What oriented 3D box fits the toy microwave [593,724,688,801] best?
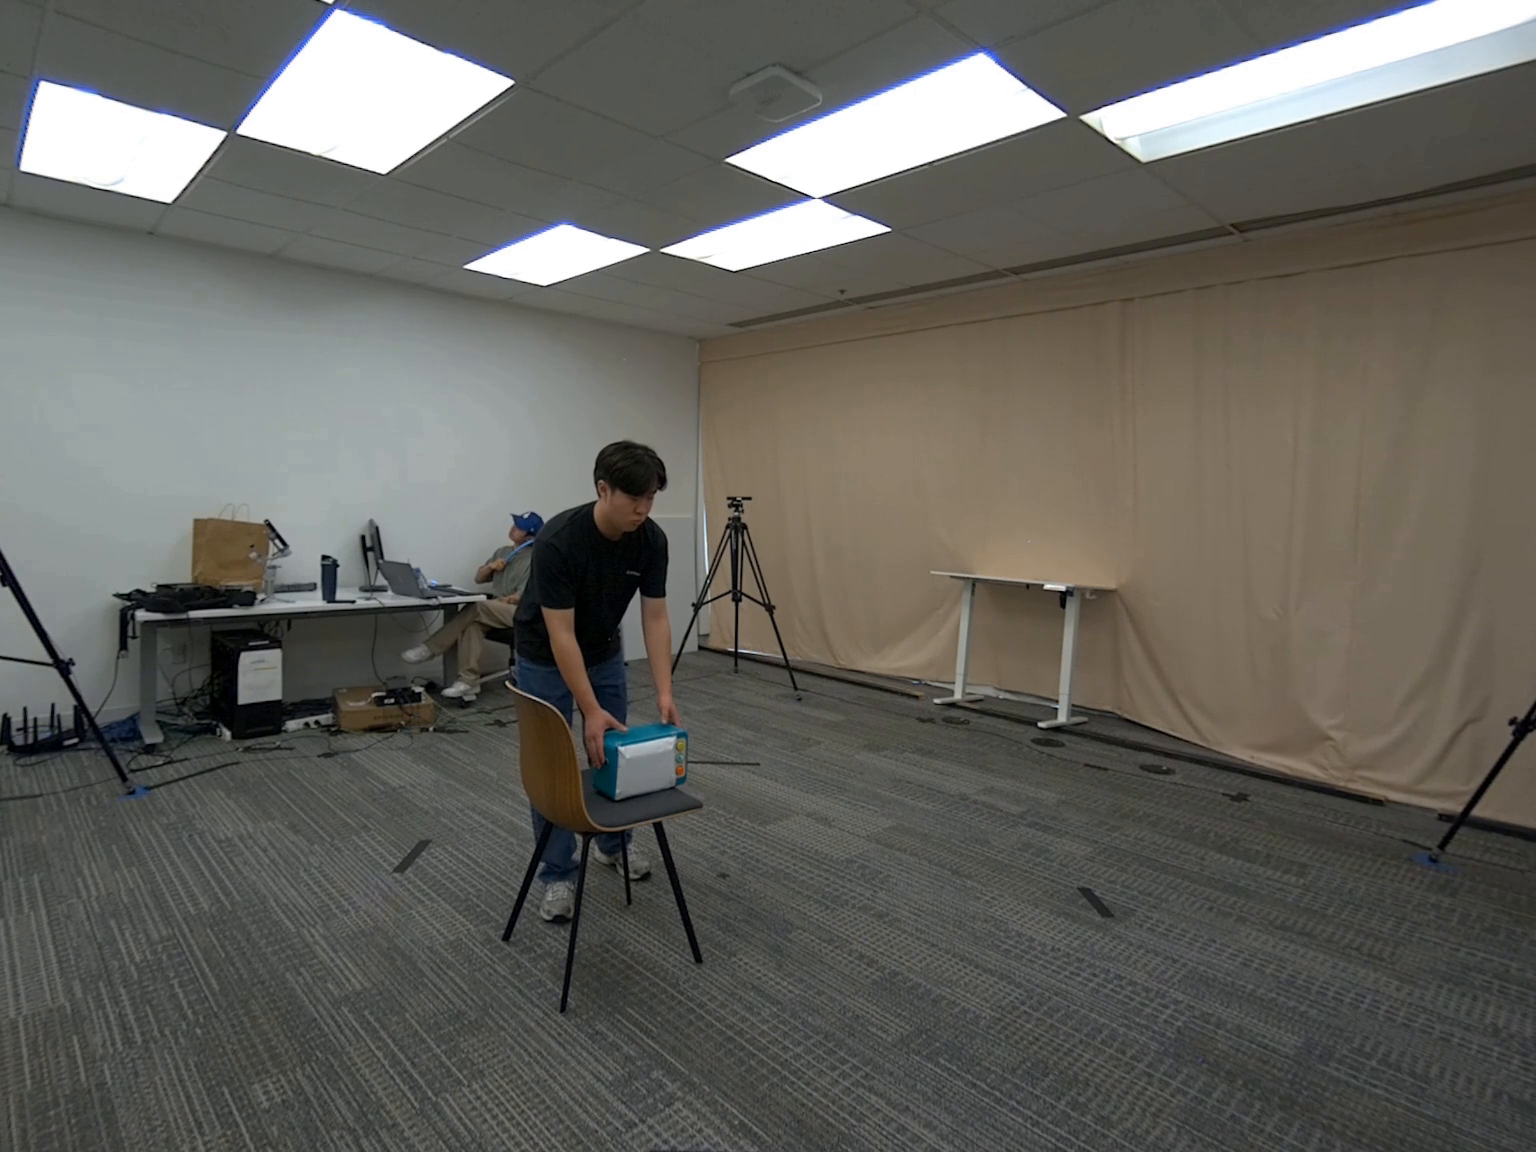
[{"bbox_3d":[-0.399,0.577,2.614,0.280,0.184,0.156,-1,4,-36],"label":"toy microwave"}]
